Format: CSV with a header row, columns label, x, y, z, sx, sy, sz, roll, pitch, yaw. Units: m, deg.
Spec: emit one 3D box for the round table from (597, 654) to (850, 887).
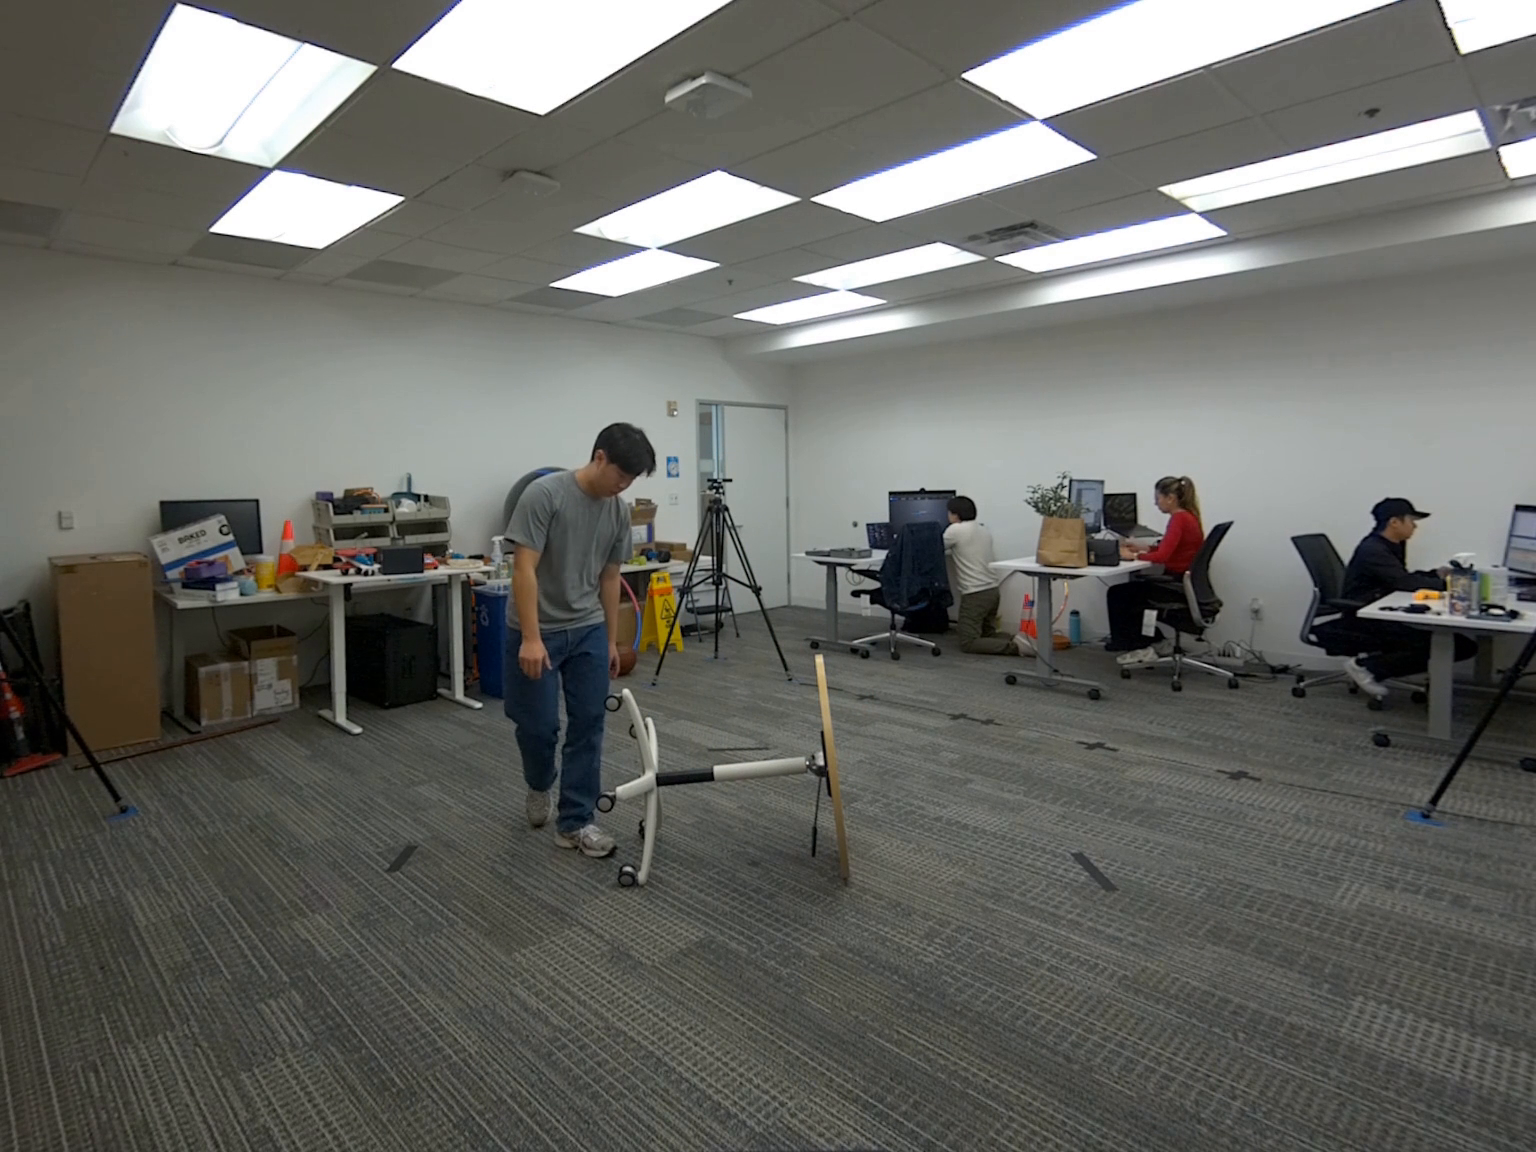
label,x,y,z,sx,sy,sz,roll,pitch,yaw
round table,-0.149,0.713,3.078,0.797,0.761,0.764,-7,4,4
